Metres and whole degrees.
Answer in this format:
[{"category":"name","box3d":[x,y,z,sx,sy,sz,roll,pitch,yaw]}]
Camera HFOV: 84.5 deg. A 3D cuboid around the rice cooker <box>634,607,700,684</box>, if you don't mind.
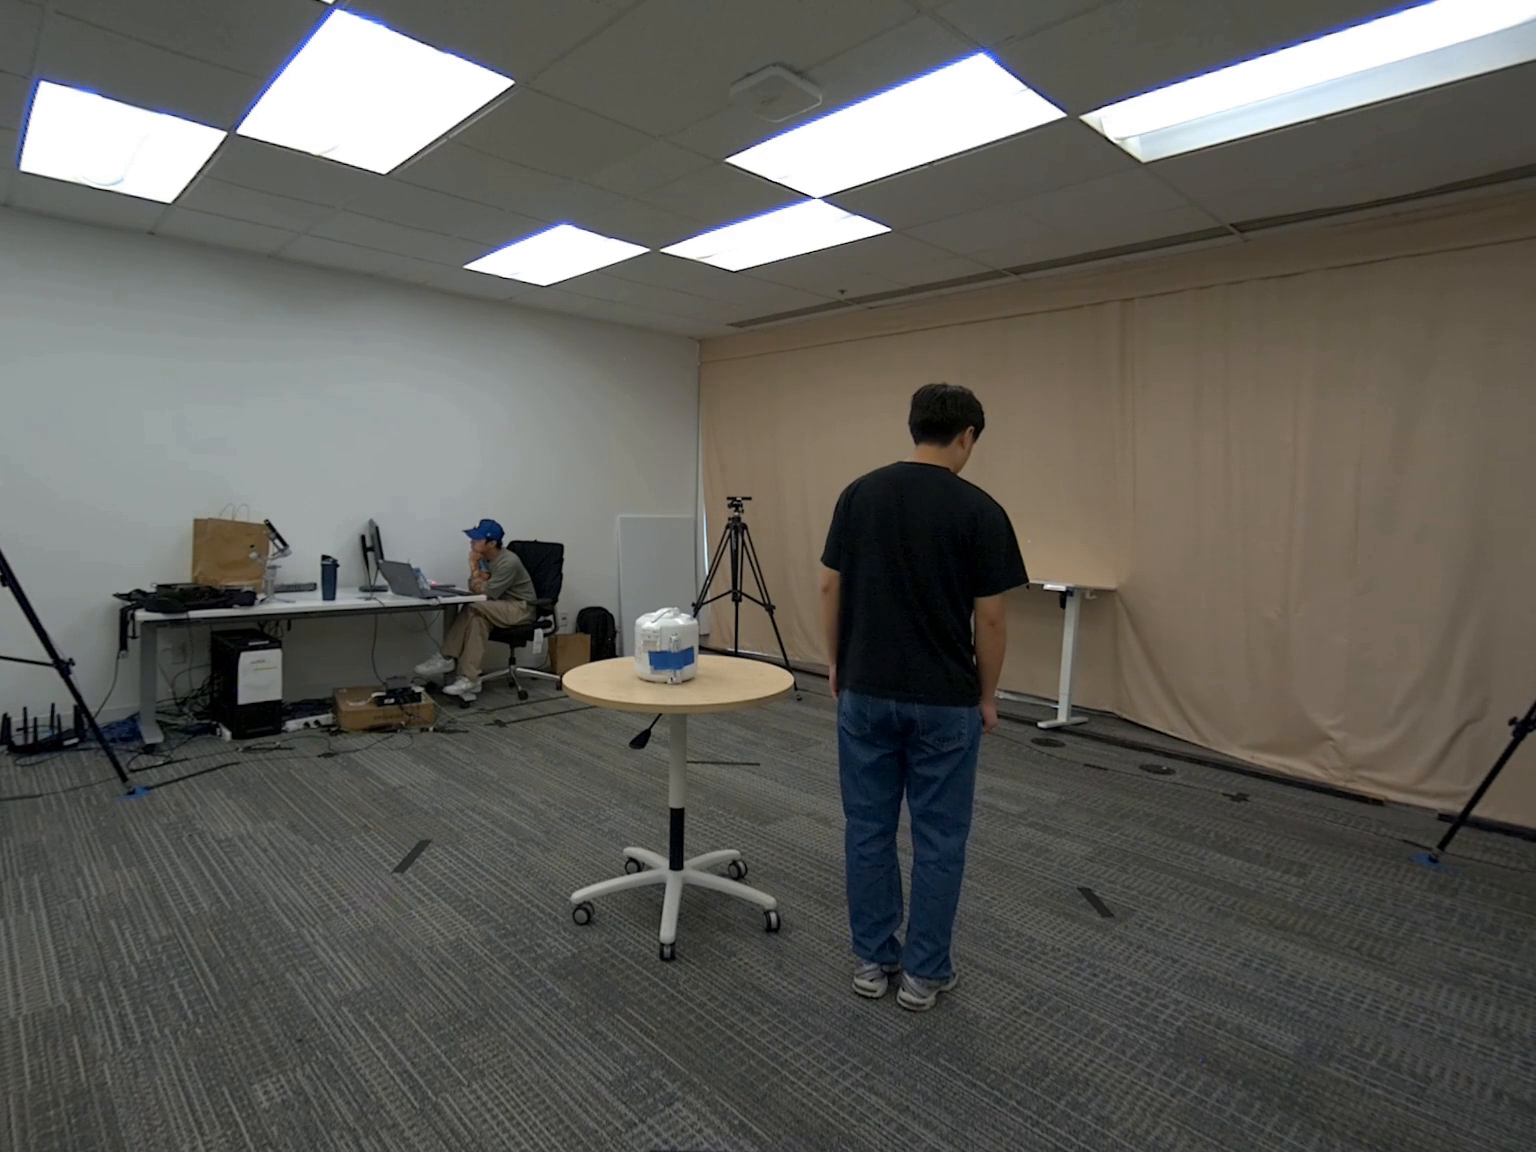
[{"category":"rice cooker","box3d":[-0.339,0.223,2.761,0.221,0.232,0.217,3,5,25]}]
